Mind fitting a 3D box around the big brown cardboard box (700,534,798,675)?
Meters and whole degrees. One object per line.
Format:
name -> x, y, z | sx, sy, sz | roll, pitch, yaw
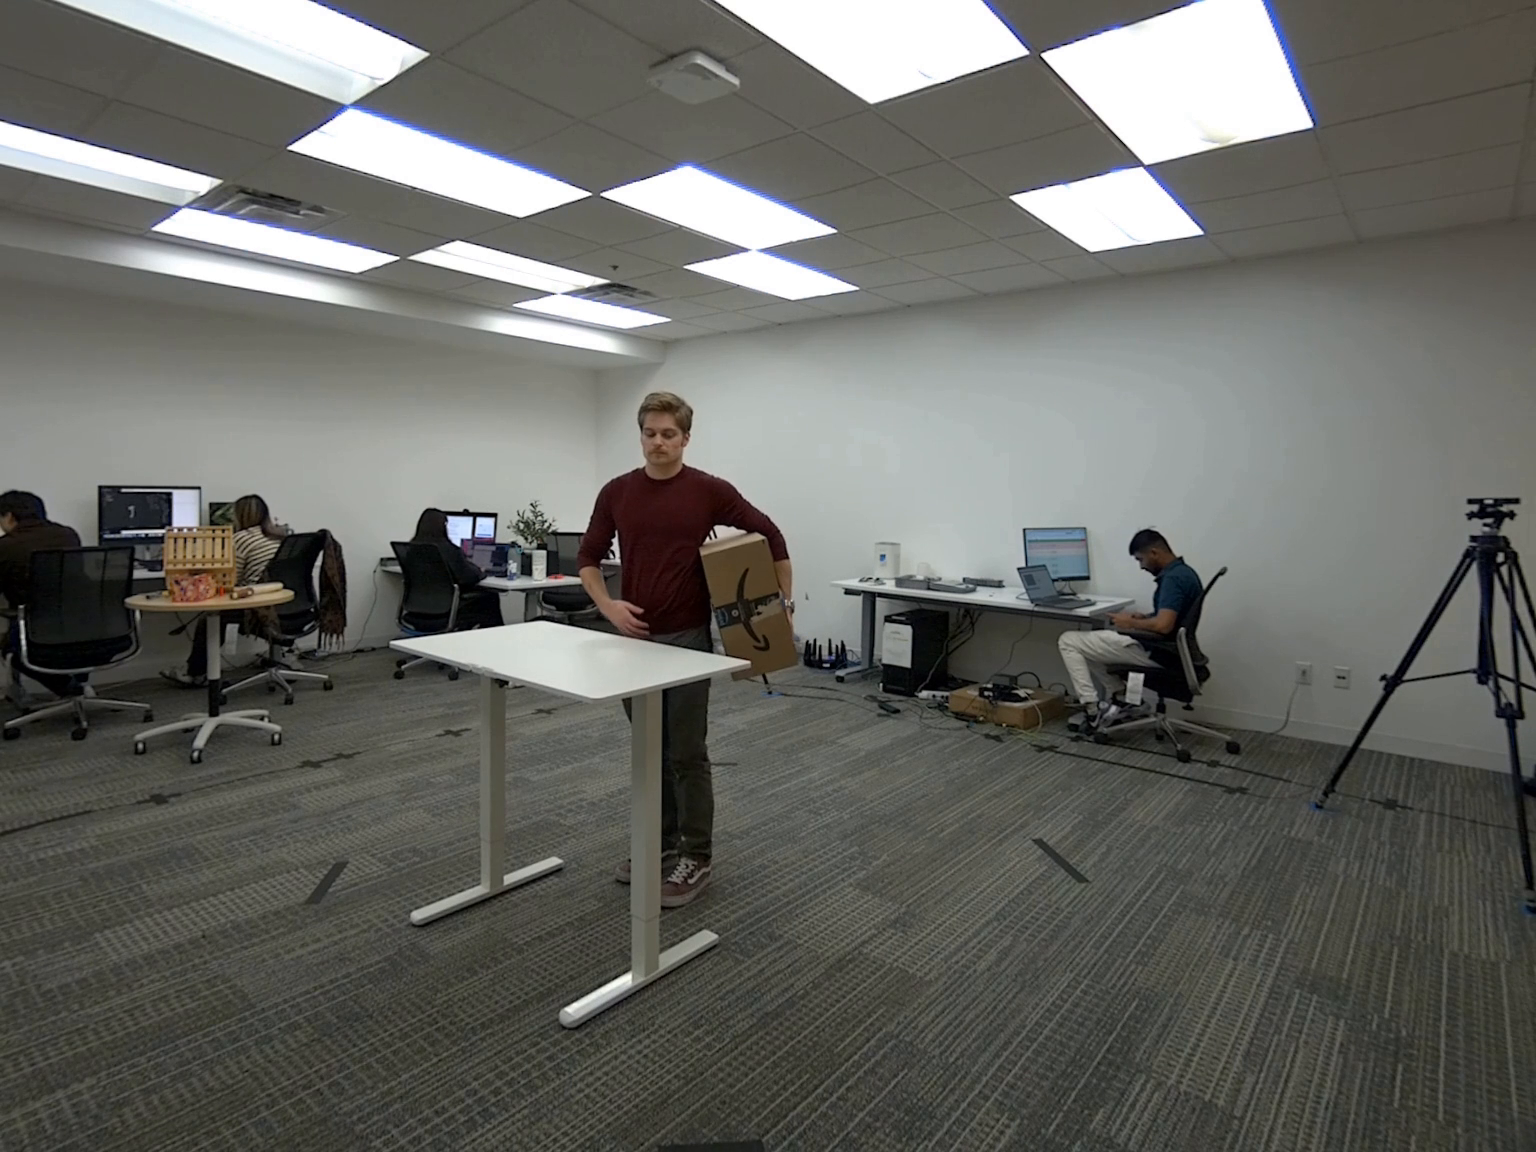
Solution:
big brown cardboard box -> -0.095, 0.073, 2.938 | 0.233, 0.415, 0.593 | -15, 6, -2
